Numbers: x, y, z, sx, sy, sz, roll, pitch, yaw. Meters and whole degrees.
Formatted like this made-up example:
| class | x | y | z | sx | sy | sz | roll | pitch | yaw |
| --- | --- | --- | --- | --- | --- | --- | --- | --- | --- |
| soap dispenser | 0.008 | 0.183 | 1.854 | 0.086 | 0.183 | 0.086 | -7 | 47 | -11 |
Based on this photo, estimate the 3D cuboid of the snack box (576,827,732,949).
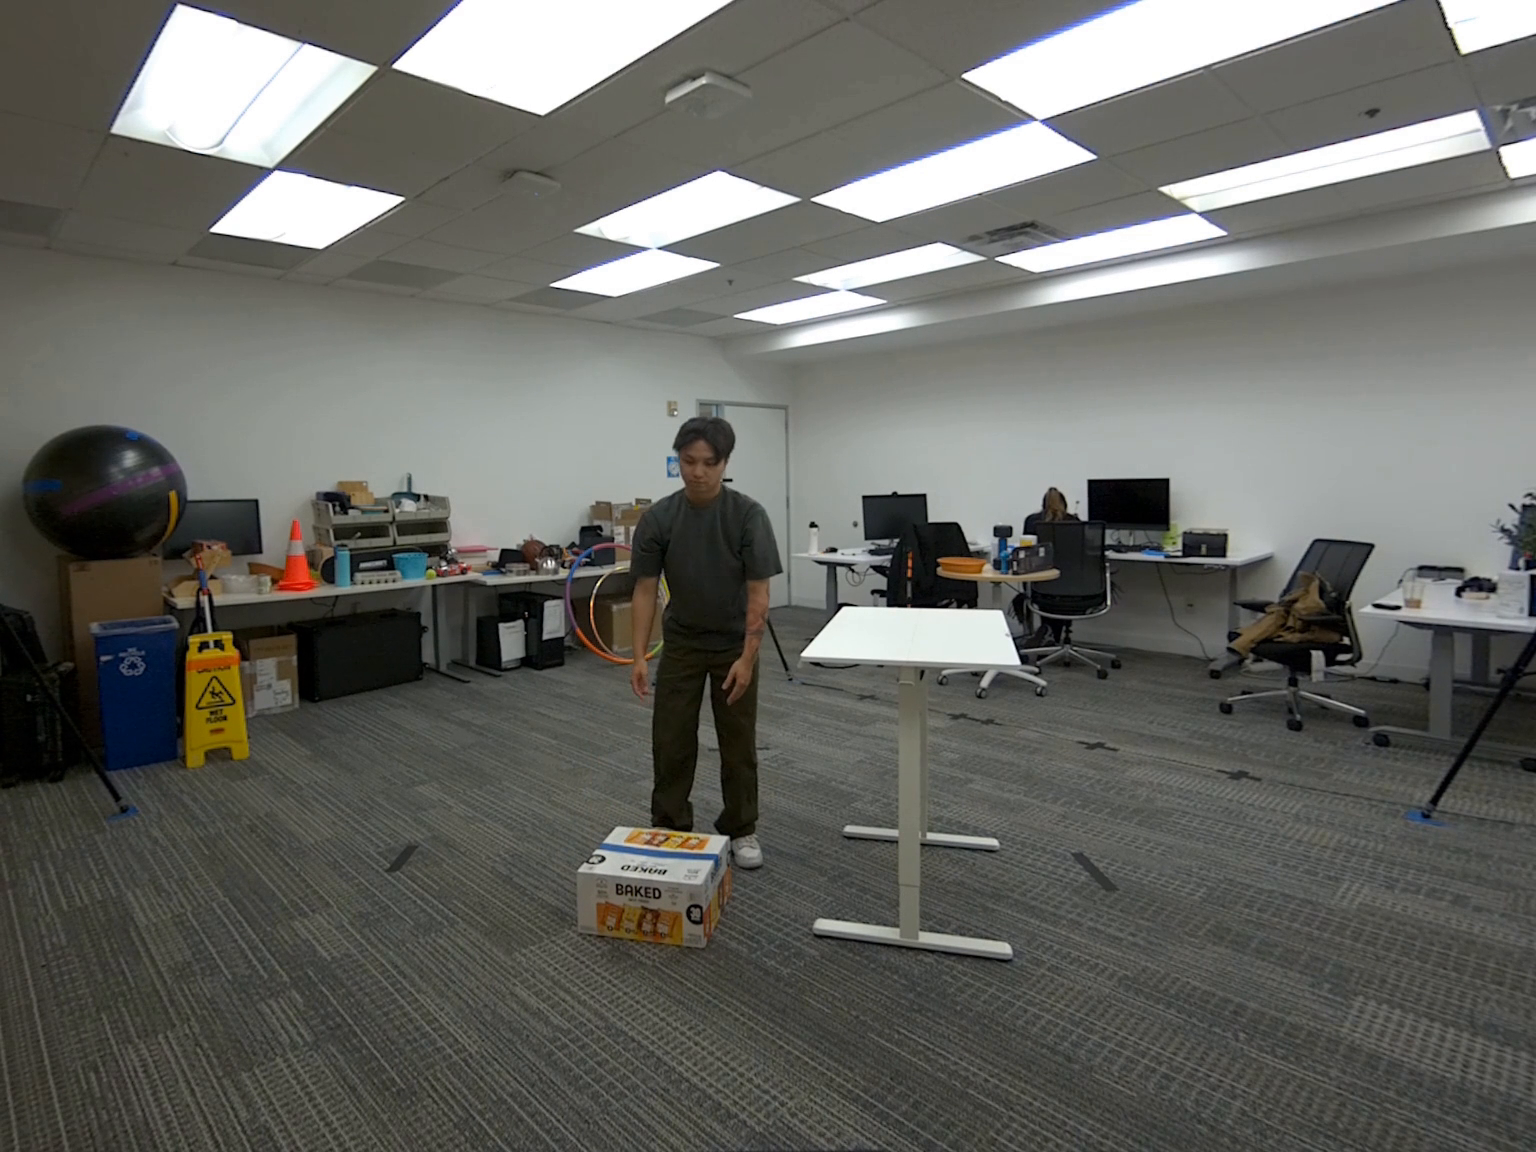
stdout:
| class | x | y | z | sx | sy | sz | roll | pitch | yaw |
| --- | --- | --- | --- | --- | --- | --- | --- | --- | --- |
| snack box | -0.363 | 0.986 | 2.747 | 0.410 | 0.205 | 0.338 | 1 | 6 | 12 |
